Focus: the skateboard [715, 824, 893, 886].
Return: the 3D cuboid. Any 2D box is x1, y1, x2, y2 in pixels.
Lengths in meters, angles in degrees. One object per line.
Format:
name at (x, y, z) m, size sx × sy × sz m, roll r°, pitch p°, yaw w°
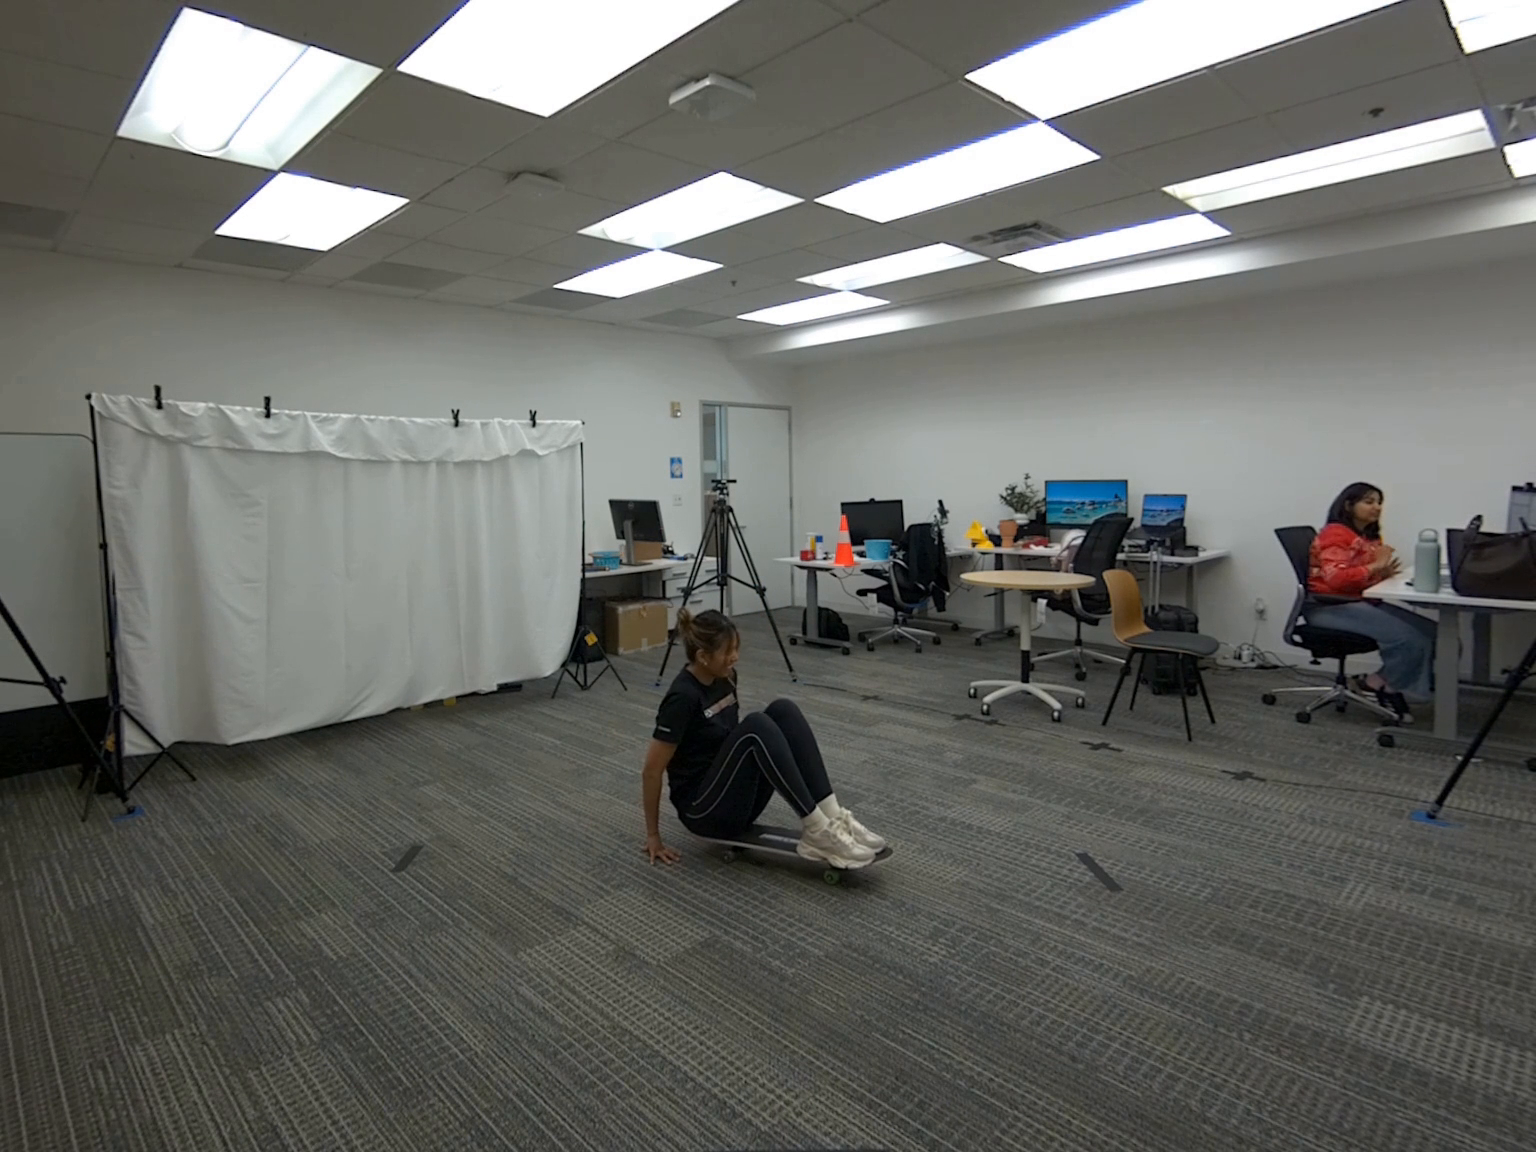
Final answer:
skateboard at (0.059, 0.993, 3.098) m, size 0.804 × 0.110 × 0.189 m, roll 2°, pitch 6°, yaw 27°
